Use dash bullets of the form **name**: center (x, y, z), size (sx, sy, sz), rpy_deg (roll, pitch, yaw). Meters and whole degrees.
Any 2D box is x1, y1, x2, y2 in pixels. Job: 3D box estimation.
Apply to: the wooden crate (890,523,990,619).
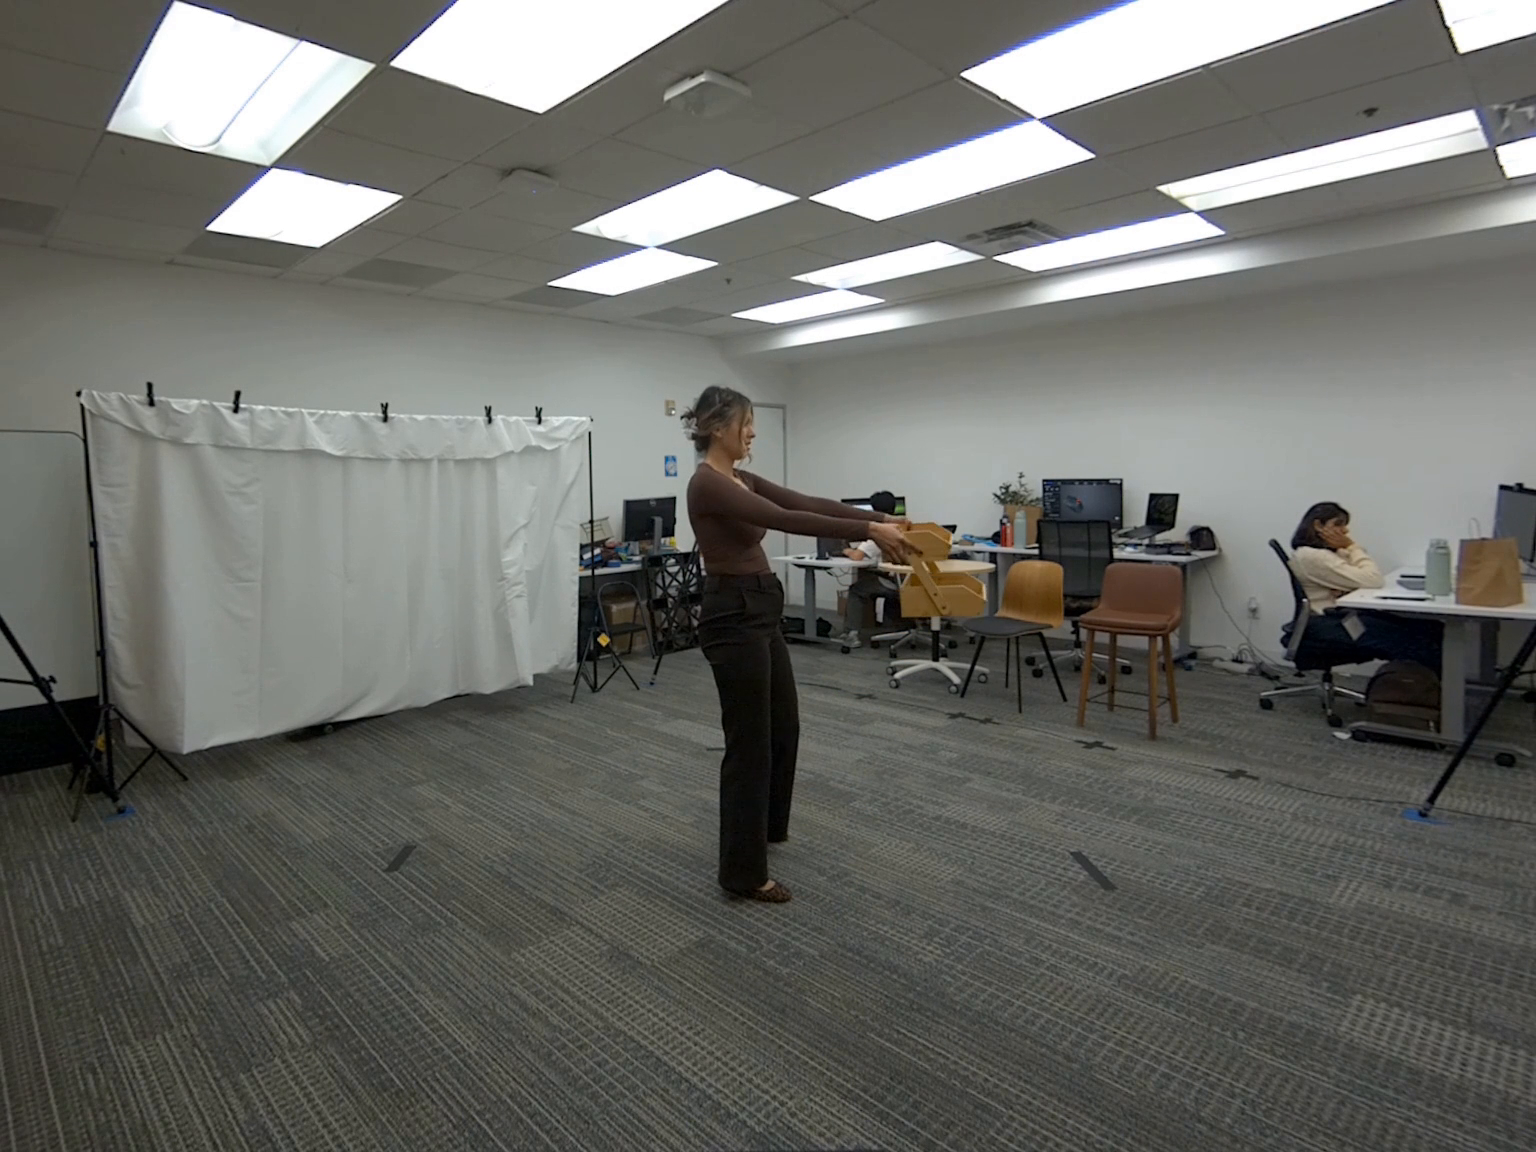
- **wooden crate**: center (0.531, -0.032, 2.718), size (0.307, 0.272, 0.321), rpy_deg (-2, 7, 16)
